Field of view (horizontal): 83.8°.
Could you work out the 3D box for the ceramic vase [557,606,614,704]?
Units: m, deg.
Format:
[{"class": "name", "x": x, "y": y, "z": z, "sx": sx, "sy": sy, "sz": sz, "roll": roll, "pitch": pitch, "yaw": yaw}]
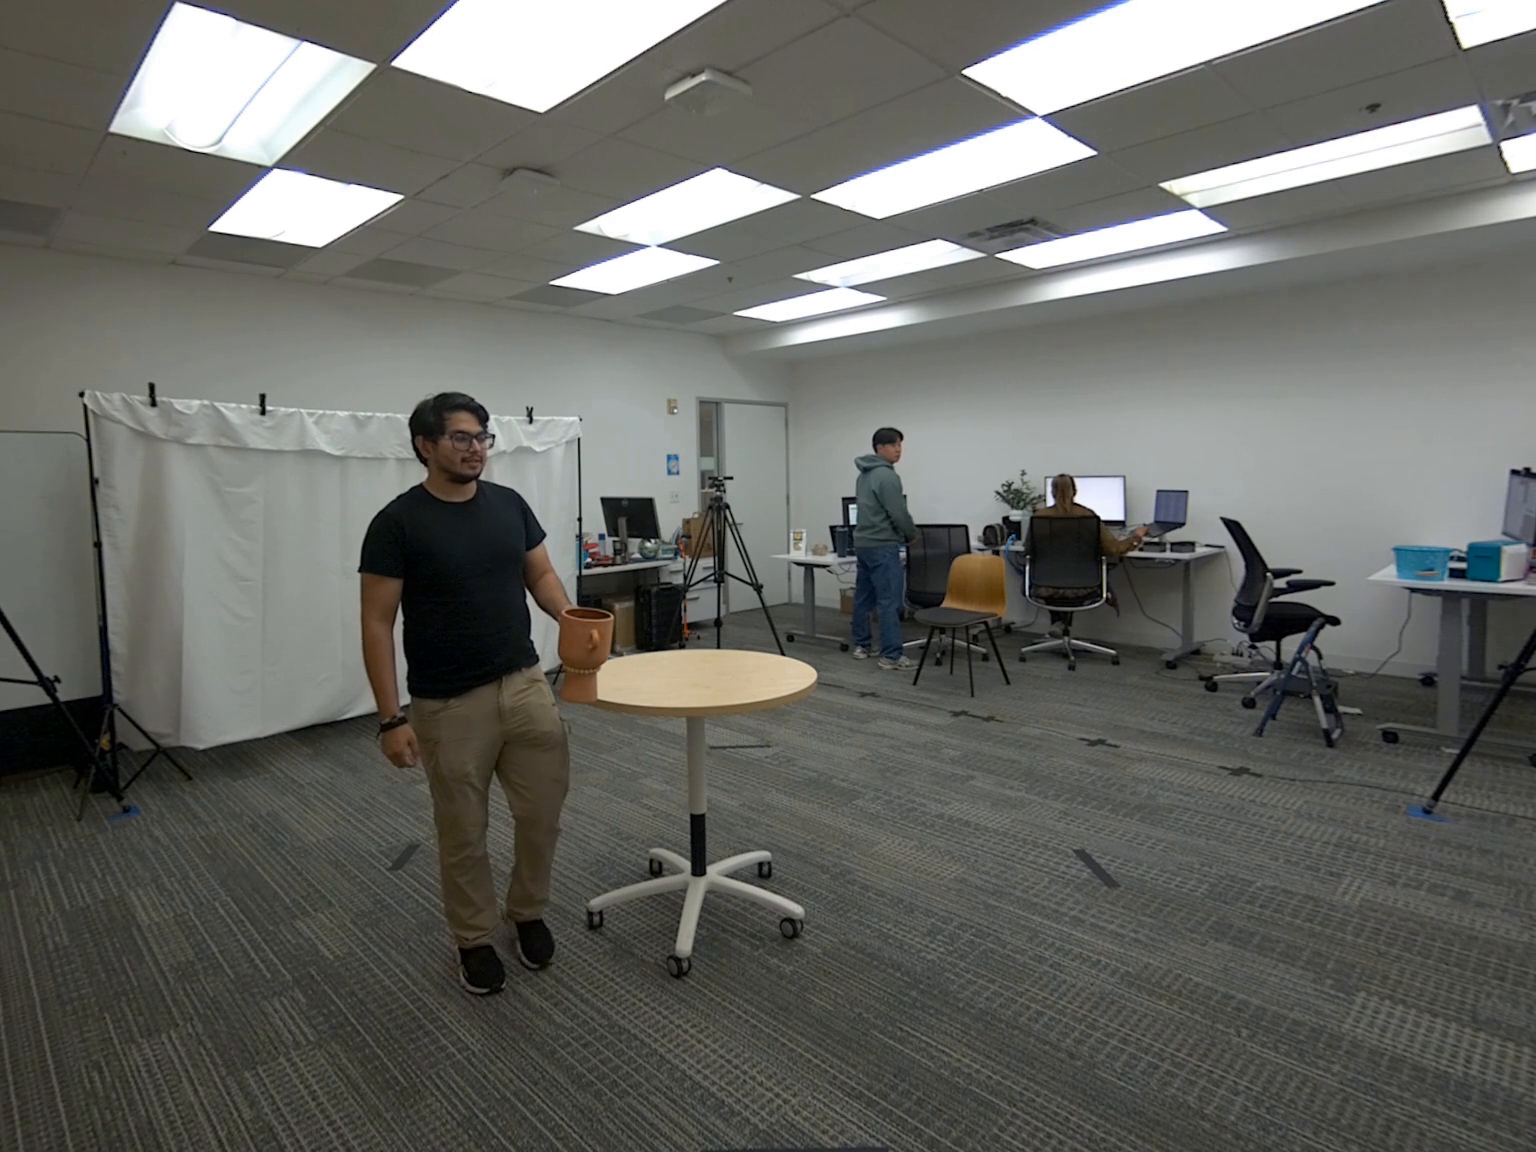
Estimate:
[{"class": "ceramic vase", "x": -0.471, "y": 0.205, "z": 2.169, "sx": 0.137, "sy": 0.218, "sz": 0.157, "roll": 9, "pitch": 8, "yaw": 13}]
